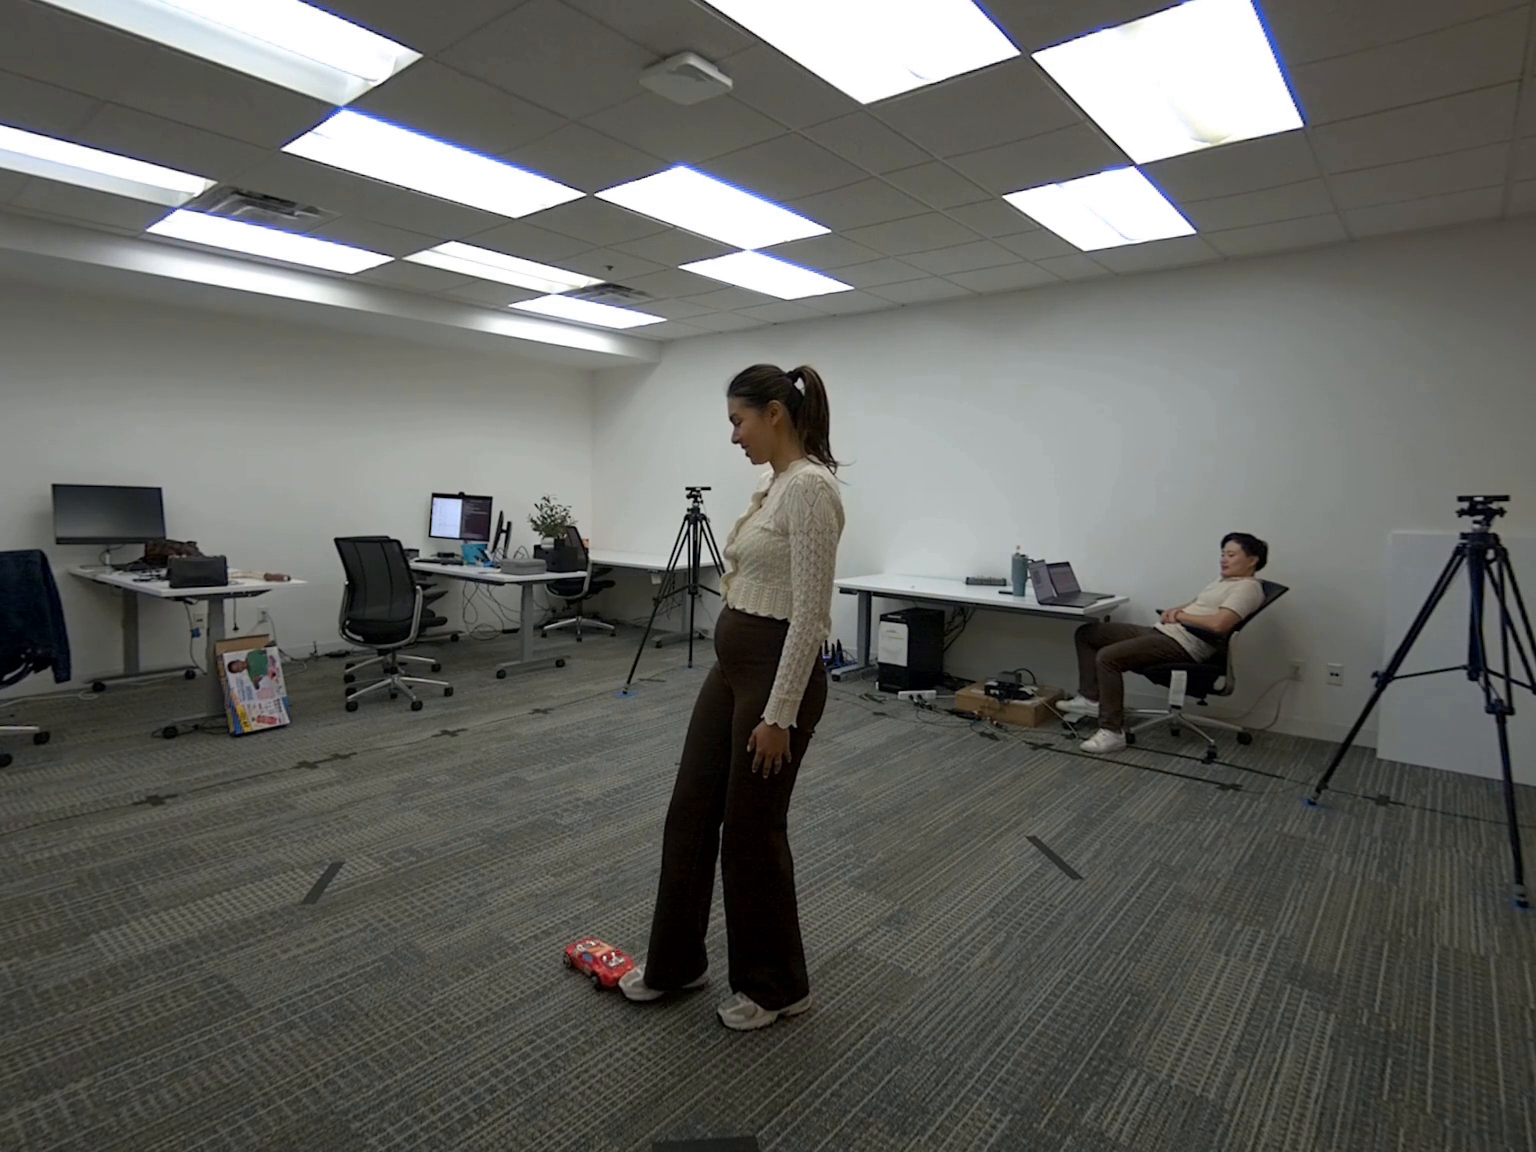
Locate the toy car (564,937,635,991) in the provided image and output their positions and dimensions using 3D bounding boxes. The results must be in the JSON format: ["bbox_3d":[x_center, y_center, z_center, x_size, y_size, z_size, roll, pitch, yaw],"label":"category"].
[{"bbox_3d":[-0.482,1.098,2.412,0.126,0.083,0.261,-4,-4,-44],"label":"toy car"}]
